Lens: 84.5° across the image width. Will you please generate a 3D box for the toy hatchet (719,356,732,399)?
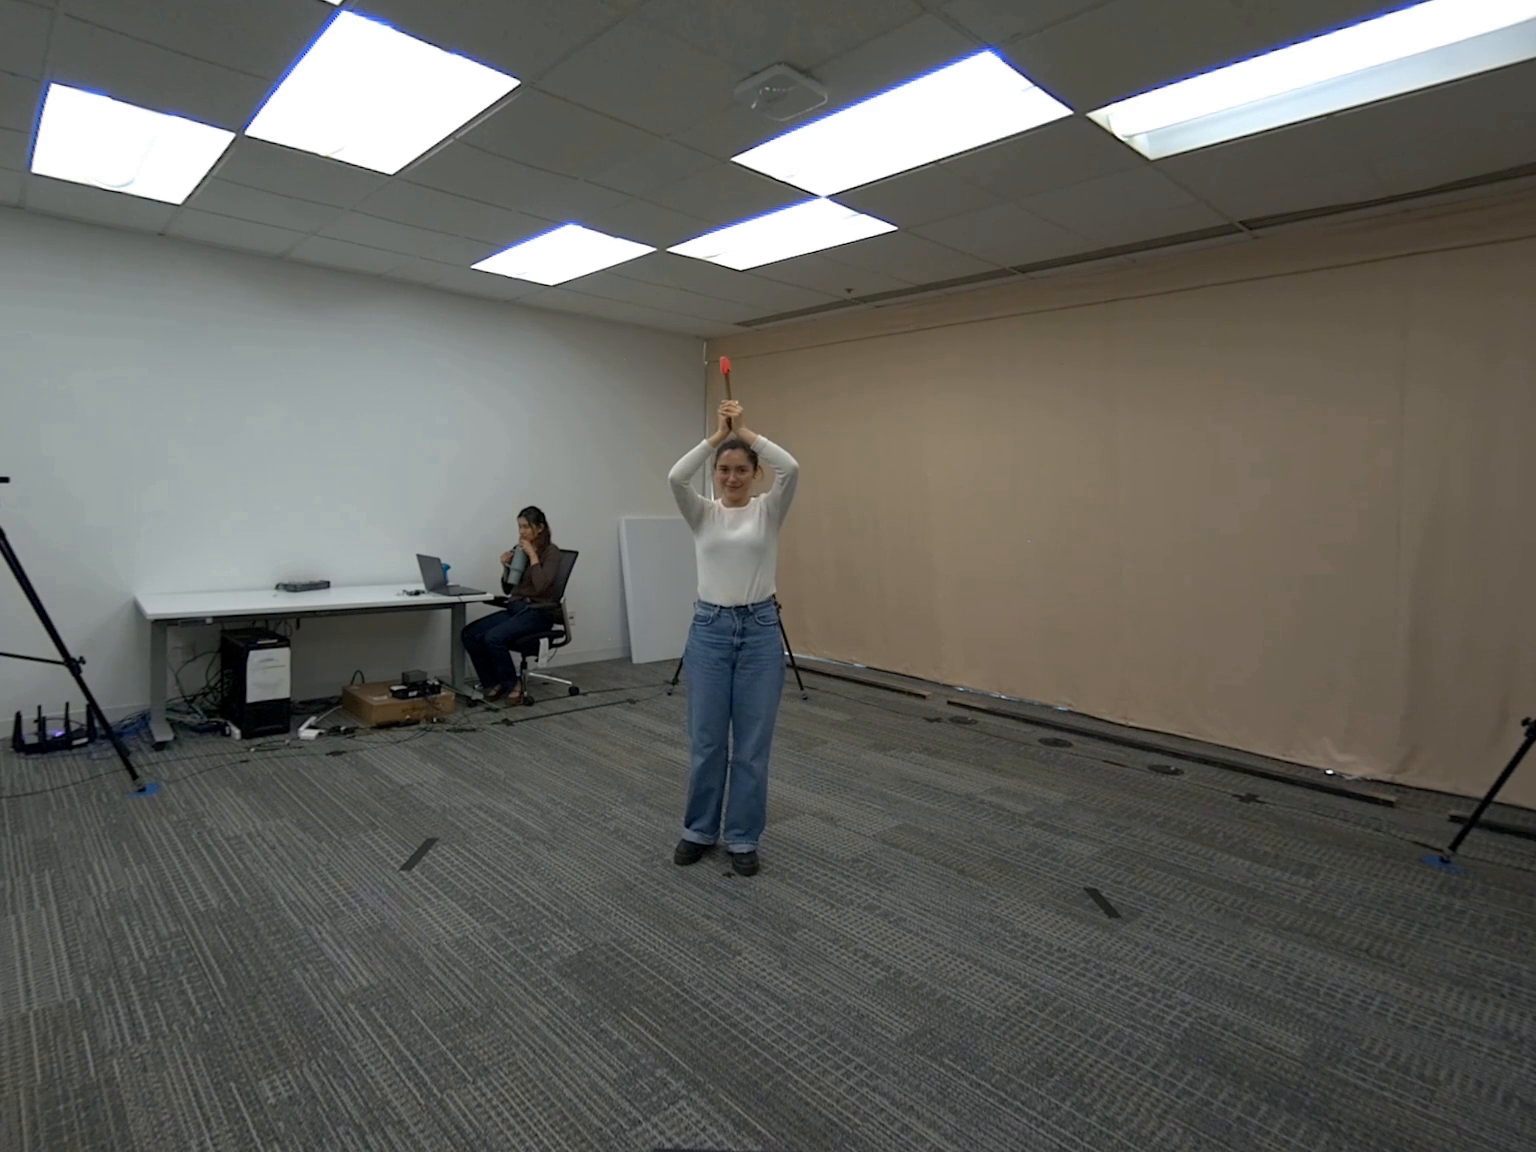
[{"bbox_3d":[-0.161,-0.688,3.068,0.030,0.275,0.128,-8,-25,10],"label":"toy hatchet"}]
